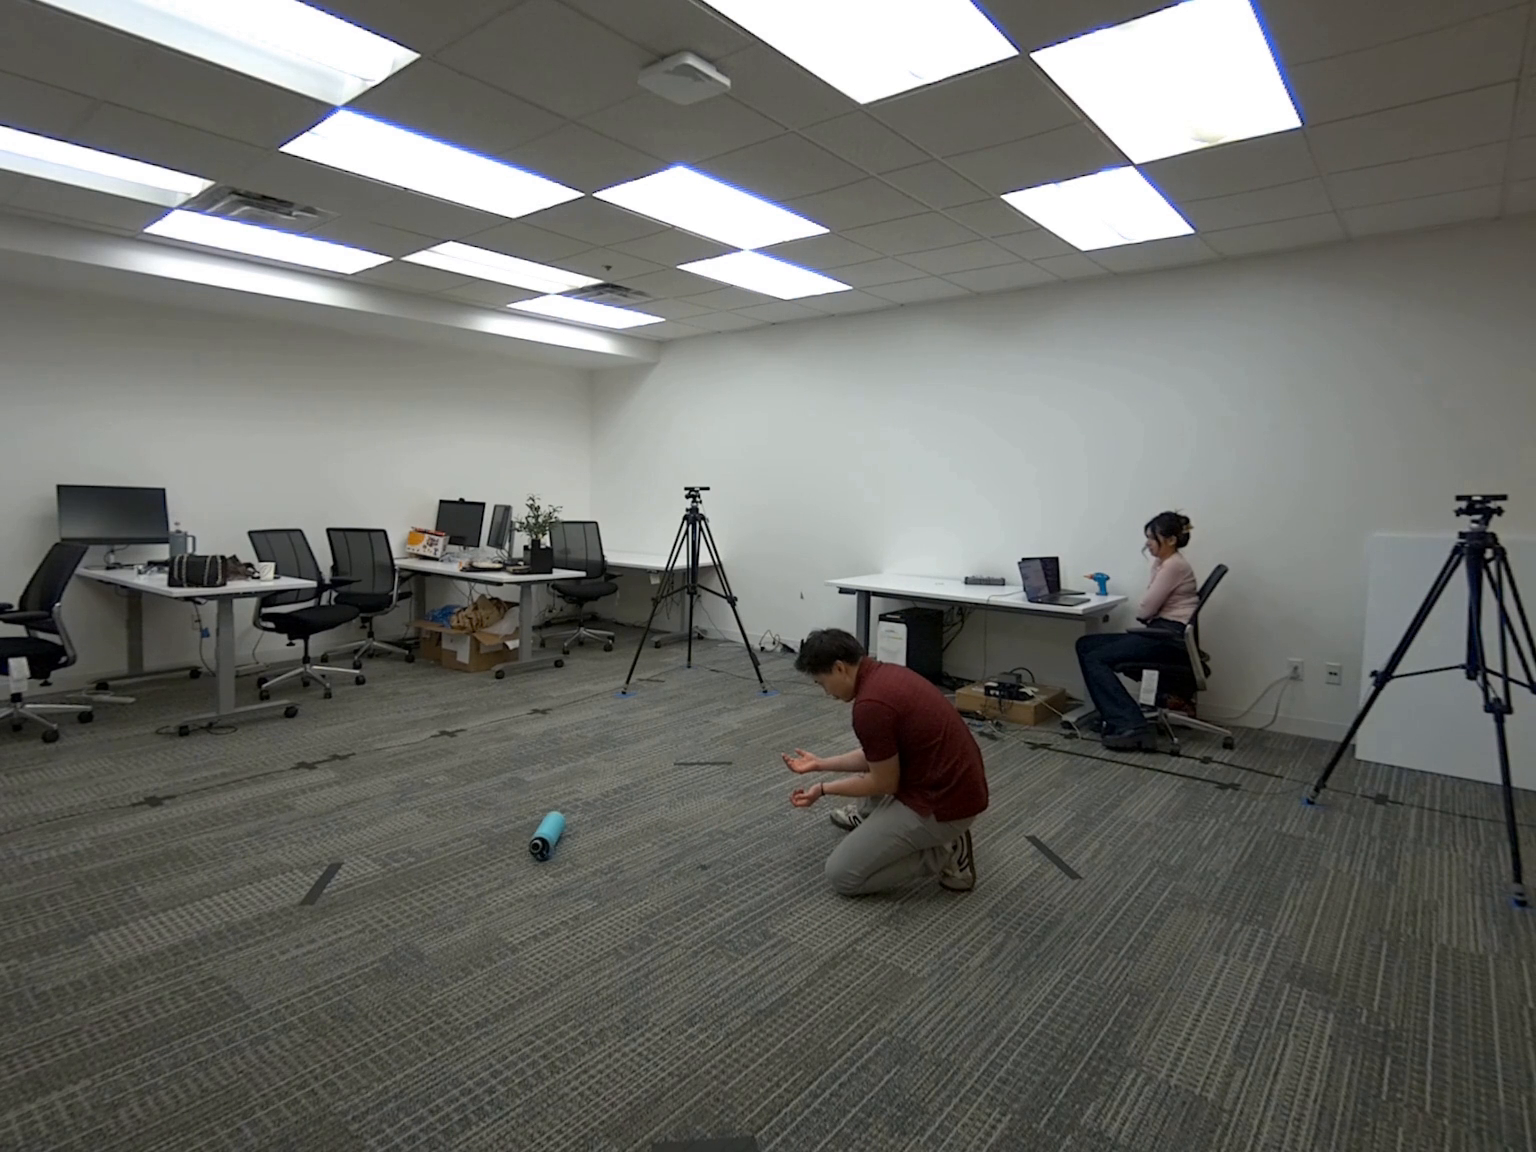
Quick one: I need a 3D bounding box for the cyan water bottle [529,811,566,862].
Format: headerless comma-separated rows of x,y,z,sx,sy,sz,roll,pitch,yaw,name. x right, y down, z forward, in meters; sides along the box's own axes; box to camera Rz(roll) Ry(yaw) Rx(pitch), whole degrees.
-0.859,0.996,3.266,0.092,0.092,0.285,0,5,-3,cyan water bottle
